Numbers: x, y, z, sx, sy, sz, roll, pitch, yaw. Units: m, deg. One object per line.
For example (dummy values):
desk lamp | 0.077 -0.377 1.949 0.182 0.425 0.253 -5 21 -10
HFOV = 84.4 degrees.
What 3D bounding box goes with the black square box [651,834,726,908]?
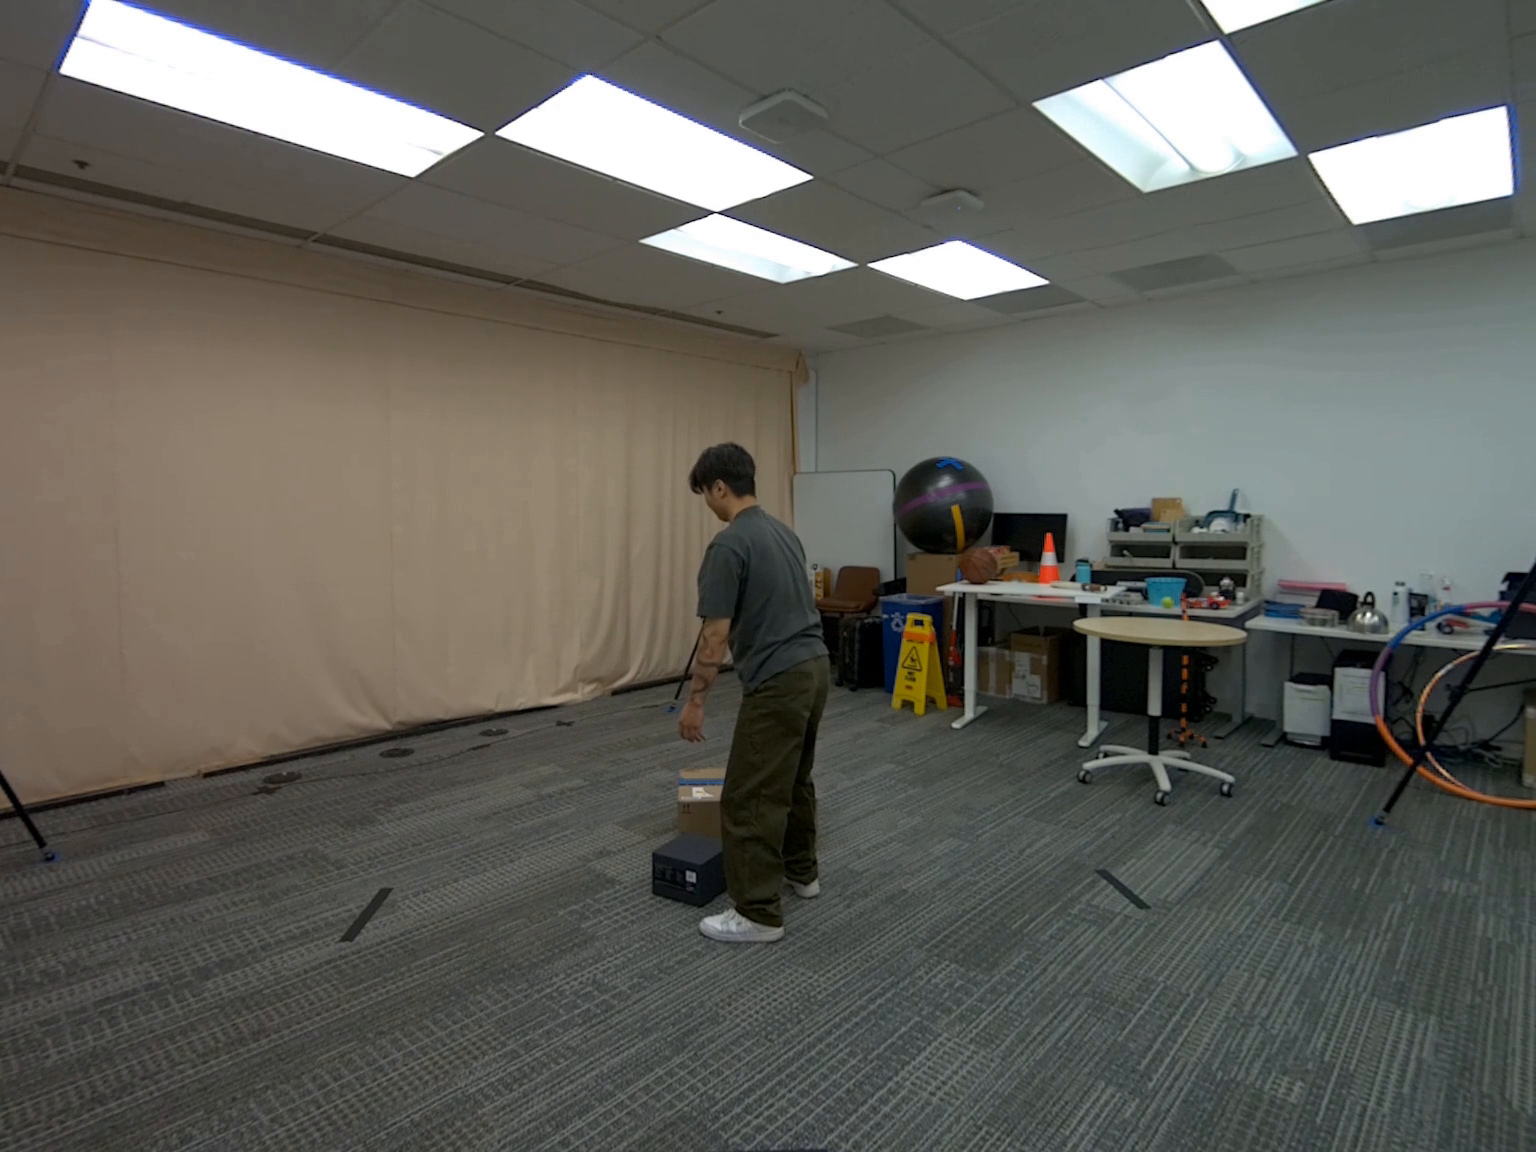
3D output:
black square box | -0.268 1.060 3.057 0.223 0.155 0.222 1 5 30
